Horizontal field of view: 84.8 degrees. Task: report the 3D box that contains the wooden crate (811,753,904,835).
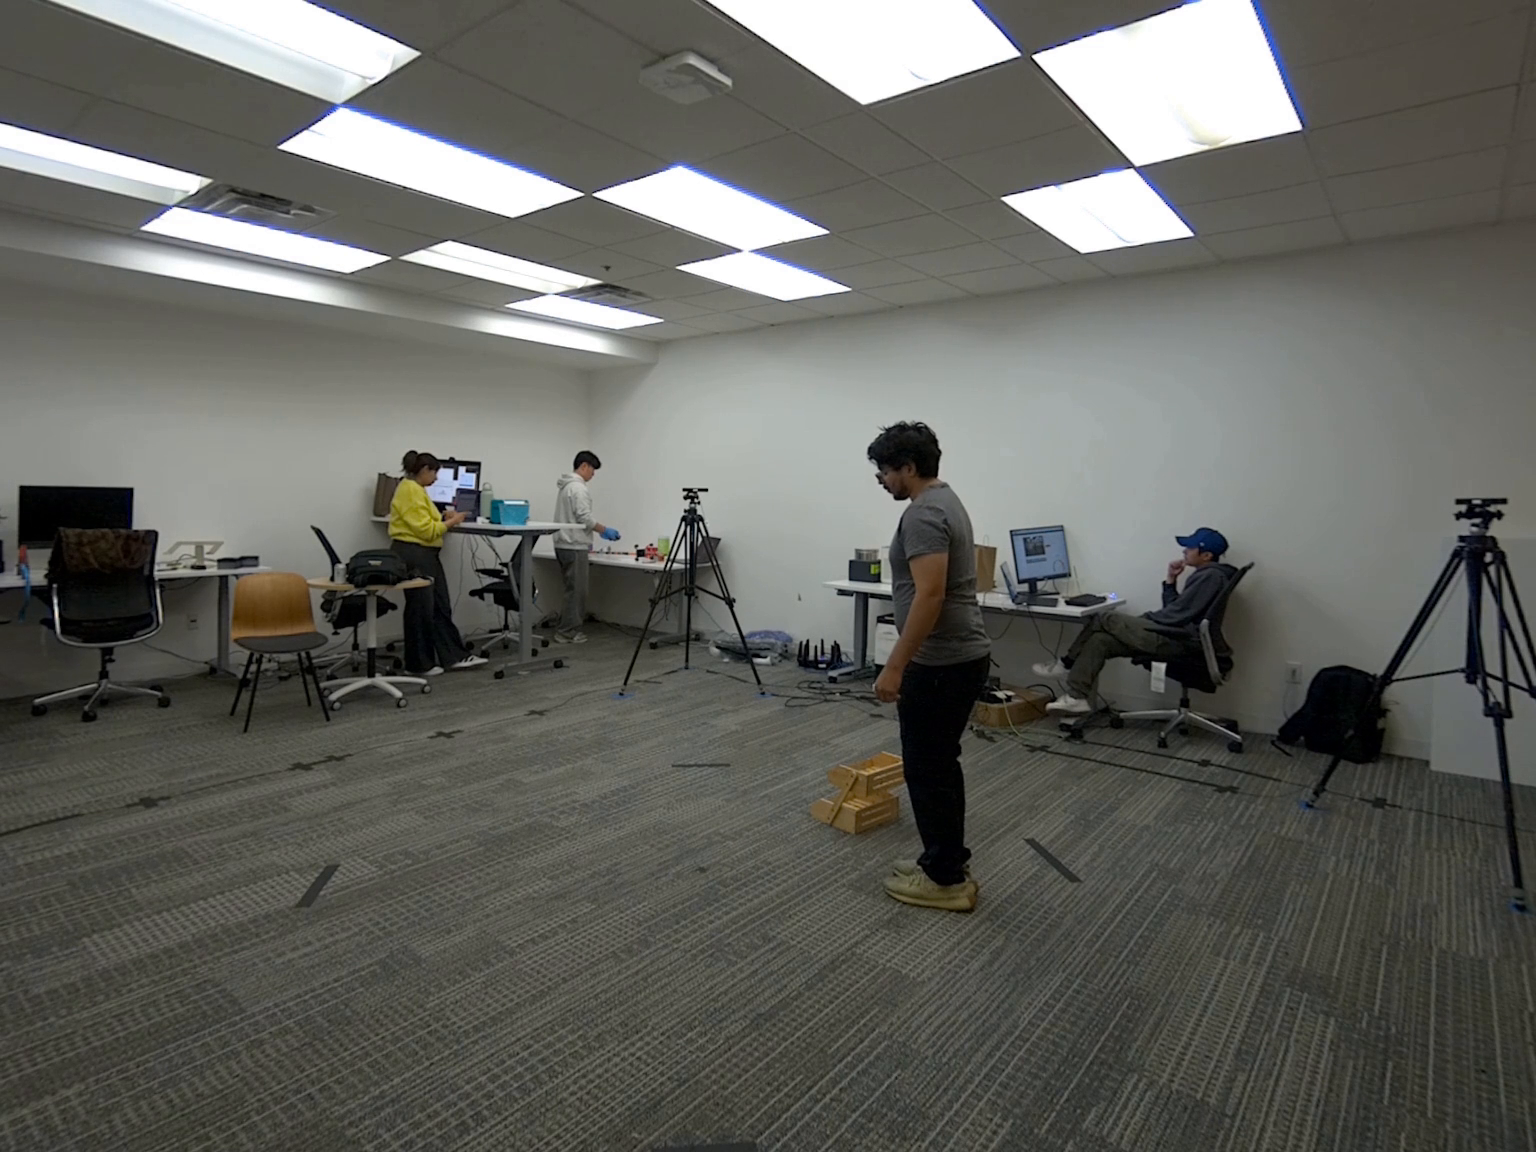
[{"bbox_3d":[0.381,0.898,3.634,0.315,0.272,0.312,-4,7,-44],"label":"wooden crate"}]
